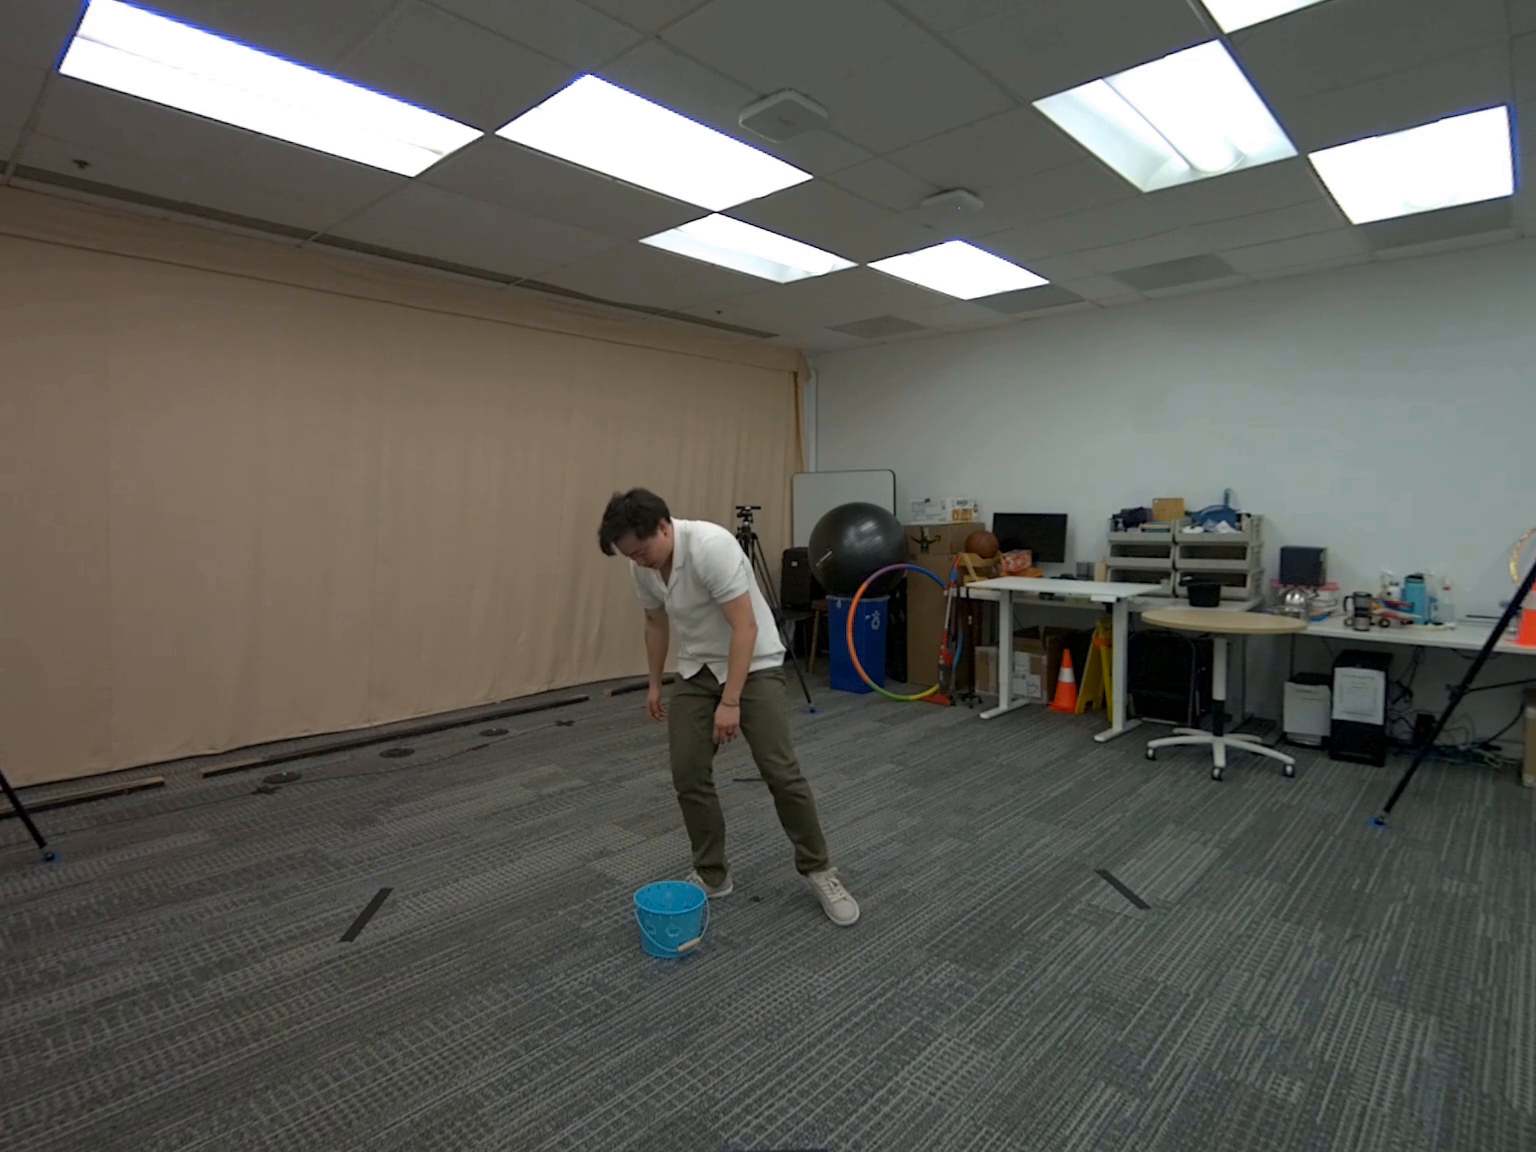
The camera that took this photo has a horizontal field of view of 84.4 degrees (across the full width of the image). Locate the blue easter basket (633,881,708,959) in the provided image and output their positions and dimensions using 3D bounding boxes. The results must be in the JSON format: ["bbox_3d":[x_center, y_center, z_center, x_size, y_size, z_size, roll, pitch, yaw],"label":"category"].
[{"bbox_3d":[-0.307,1.091,2.667,0.243,0.155,0.244,0,3,-2],"label":"blue easter basket"}]
